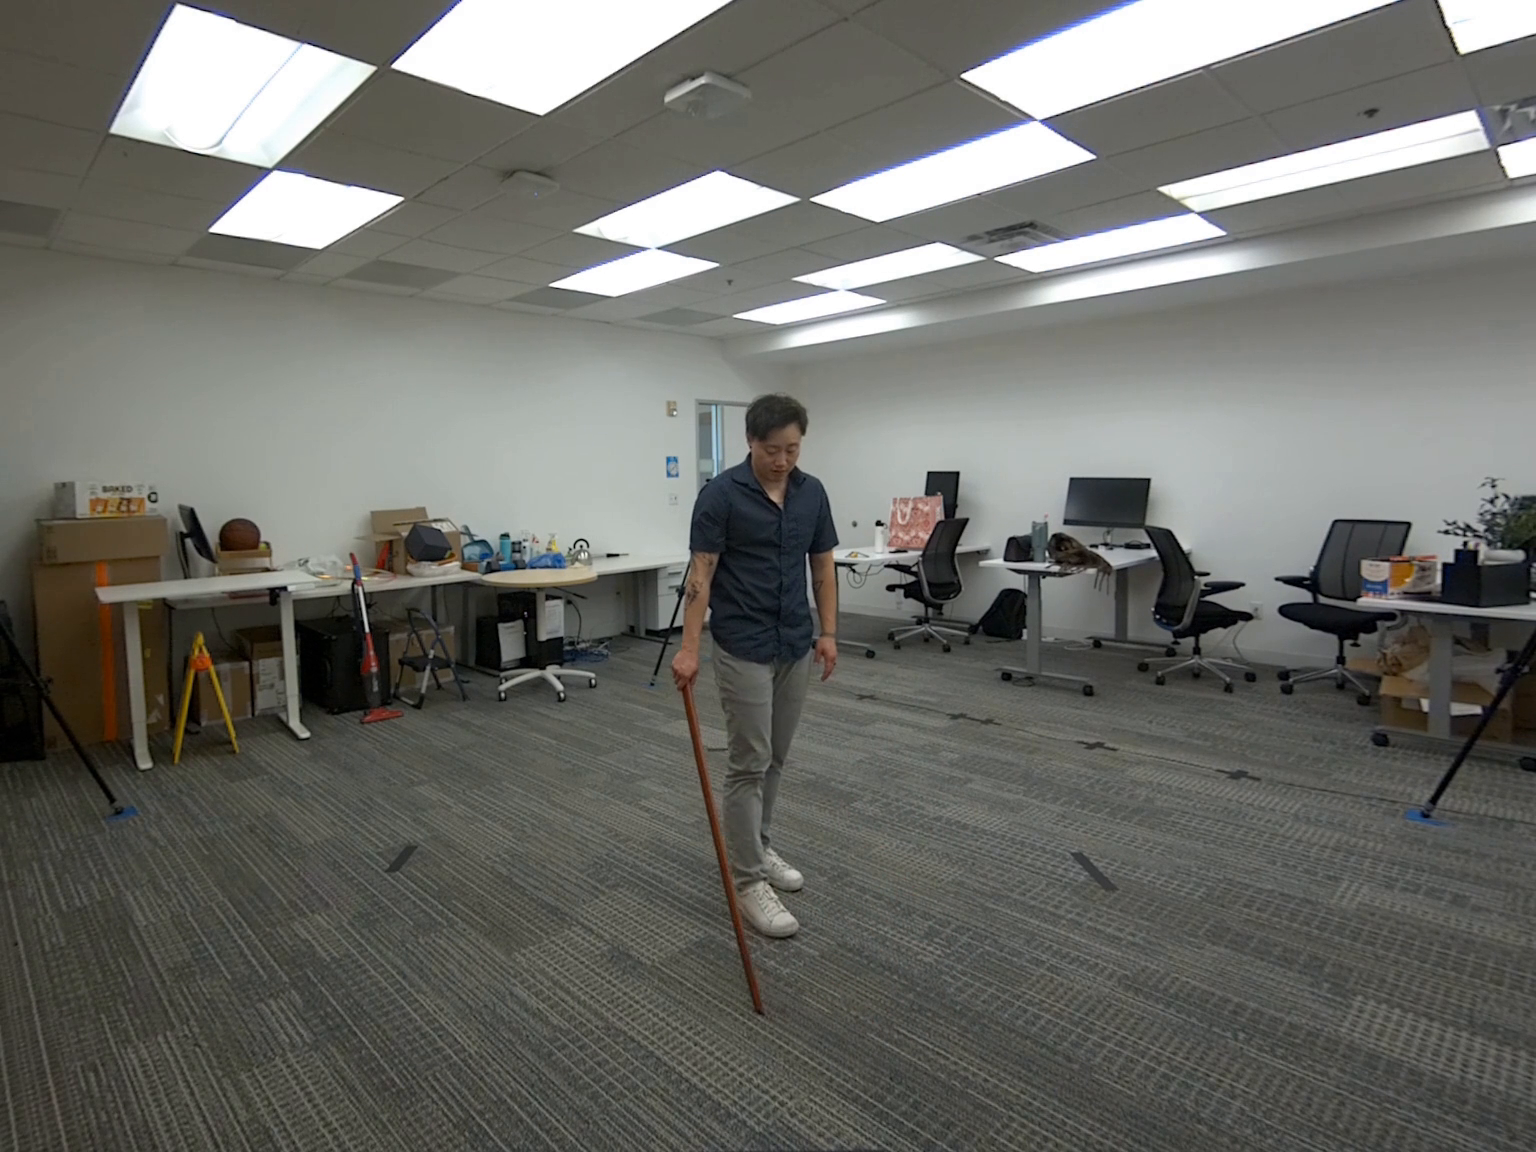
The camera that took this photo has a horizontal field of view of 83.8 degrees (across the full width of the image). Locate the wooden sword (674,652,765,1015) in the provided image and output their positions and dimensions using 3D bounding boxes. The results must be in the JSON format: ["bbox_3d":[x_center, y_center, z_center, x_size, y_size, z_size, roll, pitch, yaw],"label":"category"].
[{"bbox_3d":[-0.147,0.718,2.511,0.050,1.056,0.024,9,-39,-38],"label":"wooden sword"}]
